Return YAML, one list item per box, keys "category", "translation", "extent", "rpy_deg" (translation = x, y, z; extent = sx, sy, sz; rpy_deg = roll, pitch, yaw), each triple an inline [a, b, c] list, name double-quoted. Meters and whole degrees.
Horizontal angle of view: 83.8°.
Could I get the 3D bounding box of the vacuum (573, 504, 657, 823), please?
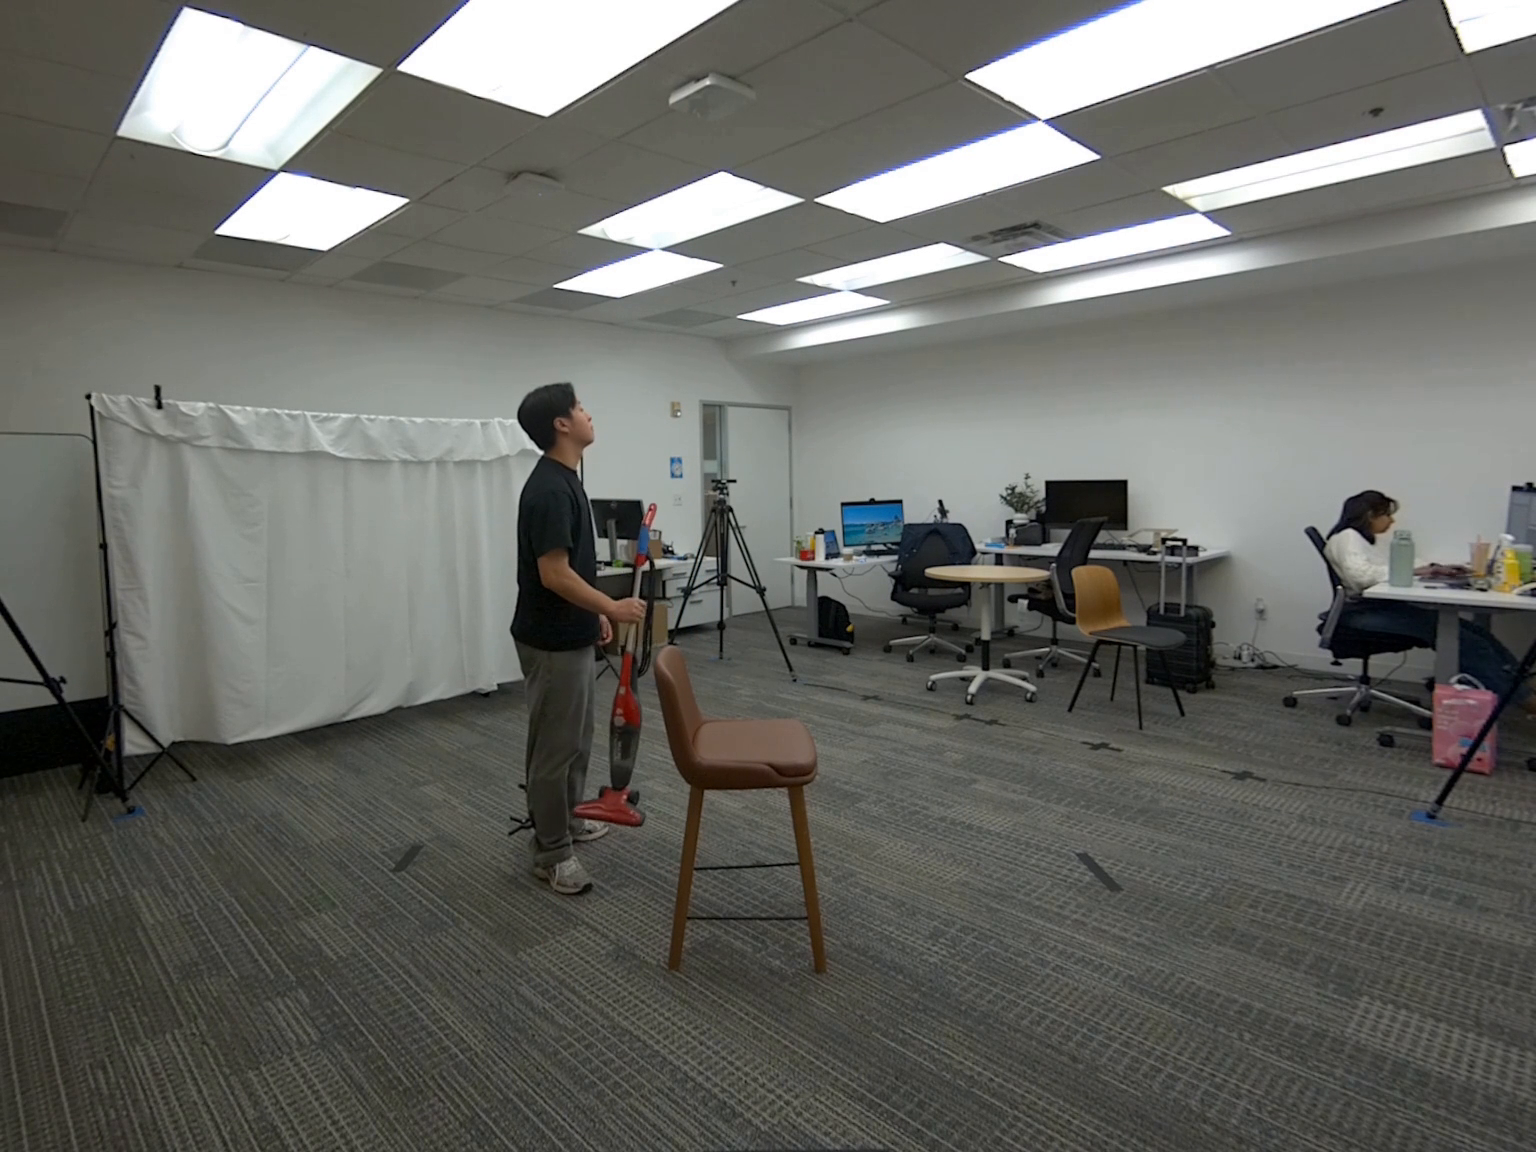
- category: "vacuum"
  translation: [-0.465, 0.256, 2.970]
  extent: [0.258, 1.058, 0.139]
  rpy_deg: [2, -12, 23]
